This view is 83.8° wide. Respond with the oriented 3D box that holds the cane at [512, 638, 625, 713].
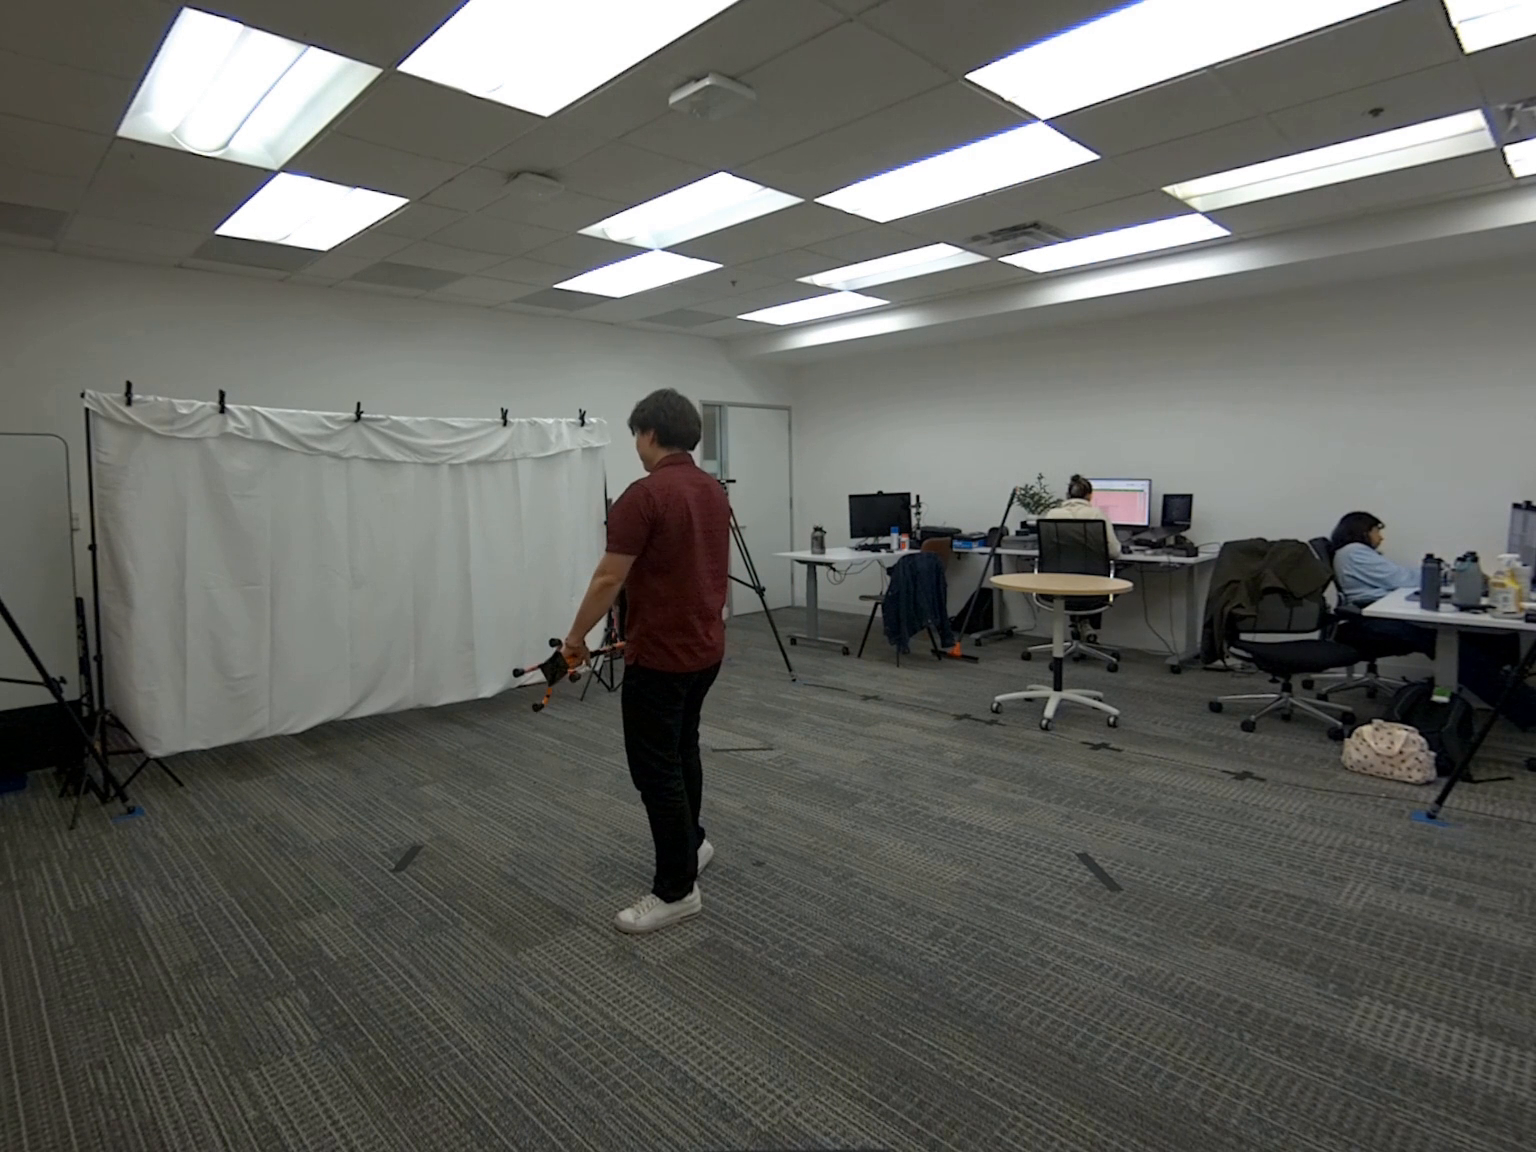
[{"bbox_3d":[-0.507,0.252,2.982,0.207,0.154,0.891,-38,-9,21],"label":"cane"}]
